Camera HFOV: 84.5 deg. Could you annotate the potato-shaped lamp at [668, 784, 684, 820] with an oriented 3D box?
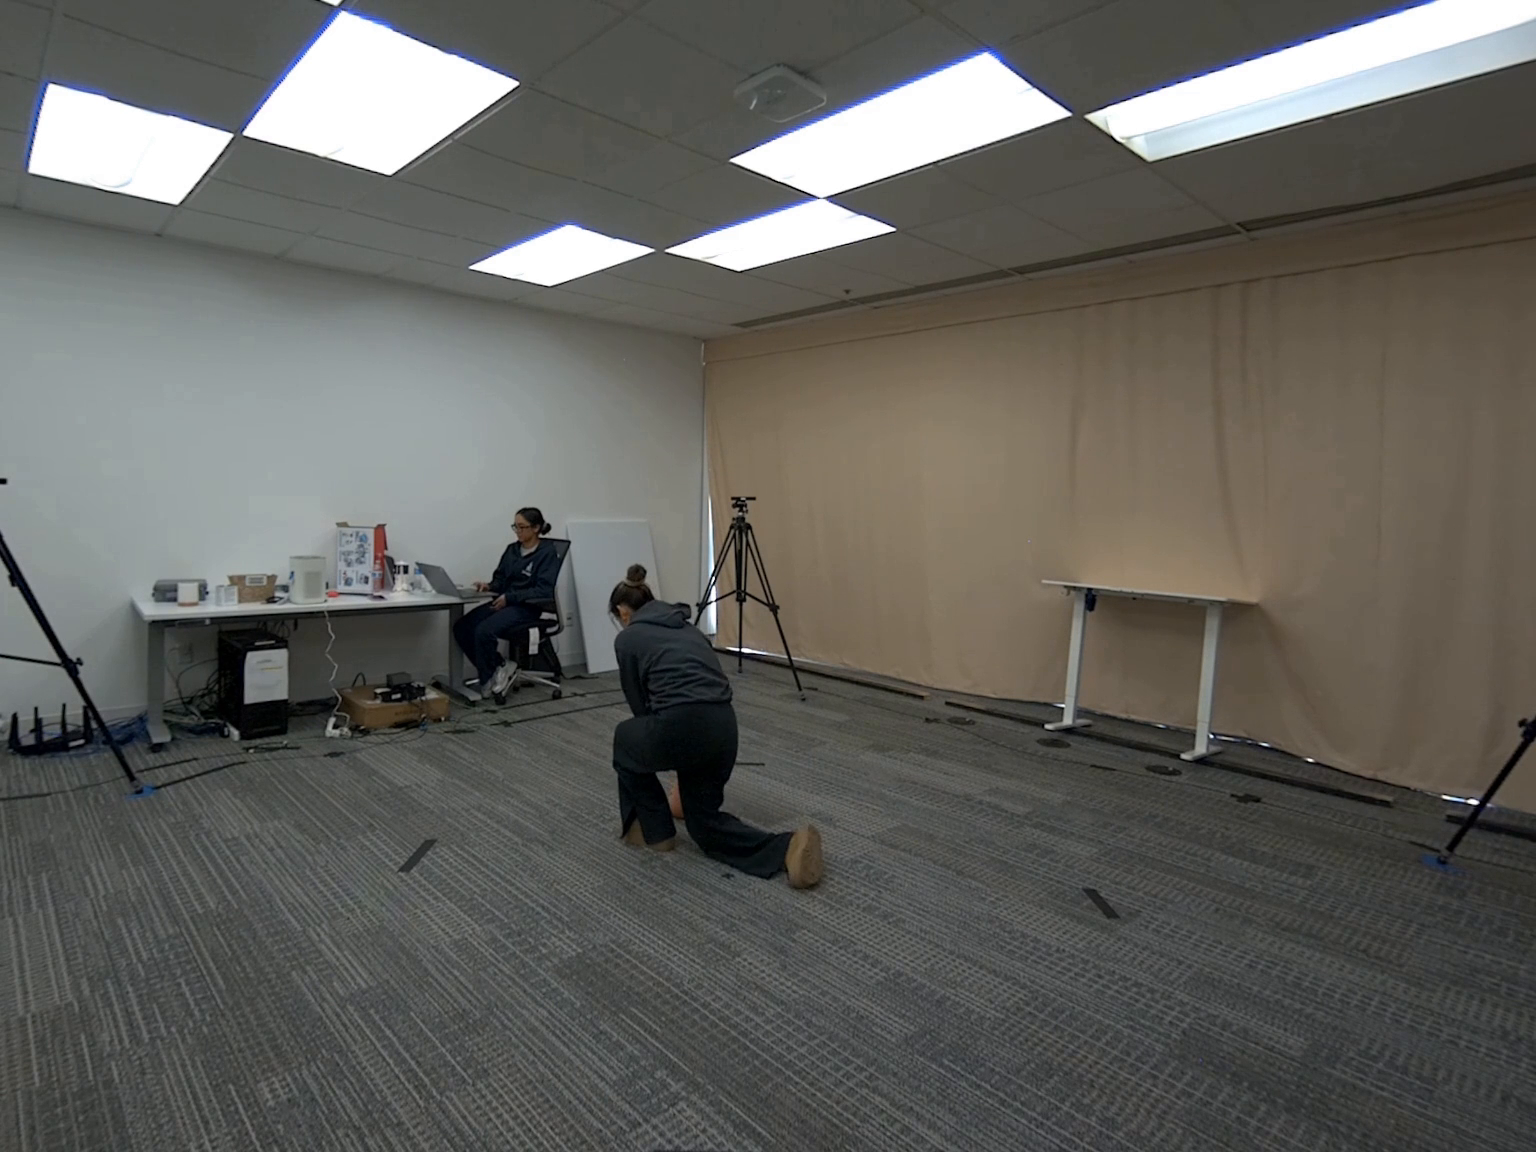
[{"bbox_3d":[-0.361,0.953,3.696,0.176,0.198,0.161,5,4,42],"label":"potato-shaped lamp"}]
